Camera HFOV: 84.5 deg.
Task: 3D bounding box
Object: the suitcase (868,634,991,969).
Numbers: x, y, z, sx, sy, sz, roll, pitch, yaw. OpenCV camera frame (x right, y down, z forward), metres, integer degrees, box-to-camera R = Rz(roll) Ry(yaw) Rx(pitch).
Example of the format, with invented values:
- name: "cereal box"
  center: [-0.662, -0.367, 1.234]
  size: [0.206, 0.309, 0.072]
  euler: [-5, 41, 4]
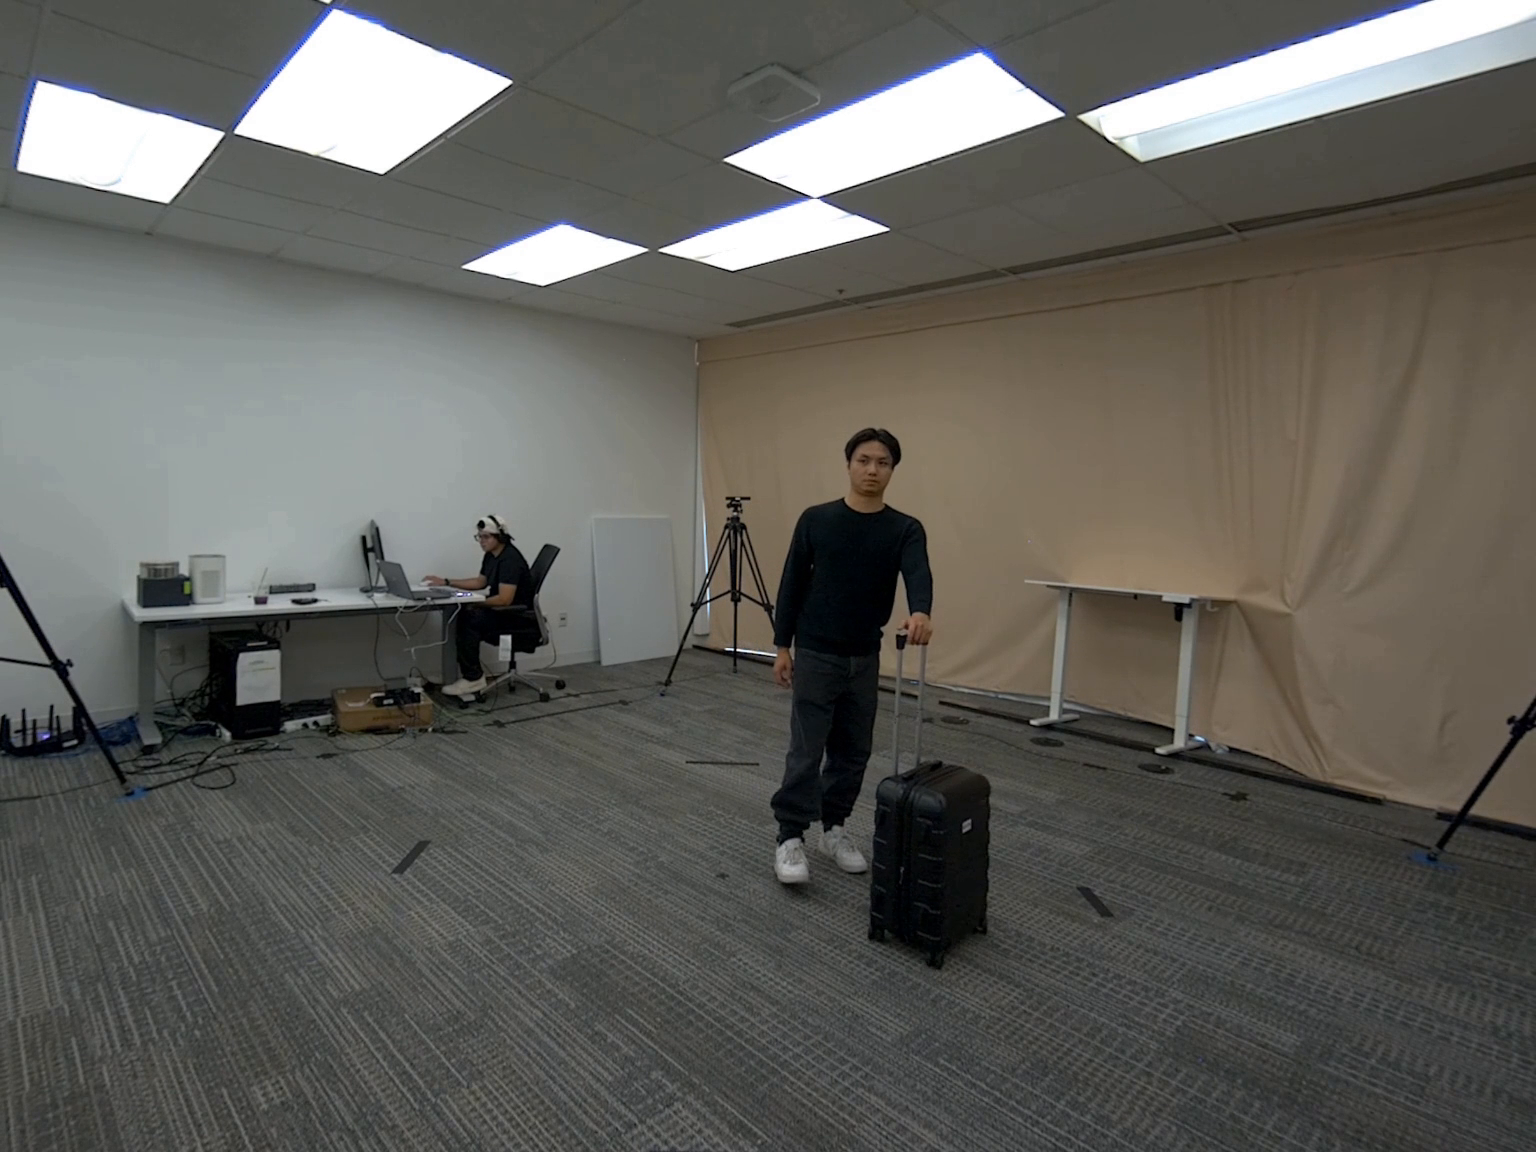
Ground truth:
- name: "suitcase"
  center: [0.528, 0.689, 2.654]
  size: [0.264, 0.974, 0.375]
  euler: [8, 8, 43]
